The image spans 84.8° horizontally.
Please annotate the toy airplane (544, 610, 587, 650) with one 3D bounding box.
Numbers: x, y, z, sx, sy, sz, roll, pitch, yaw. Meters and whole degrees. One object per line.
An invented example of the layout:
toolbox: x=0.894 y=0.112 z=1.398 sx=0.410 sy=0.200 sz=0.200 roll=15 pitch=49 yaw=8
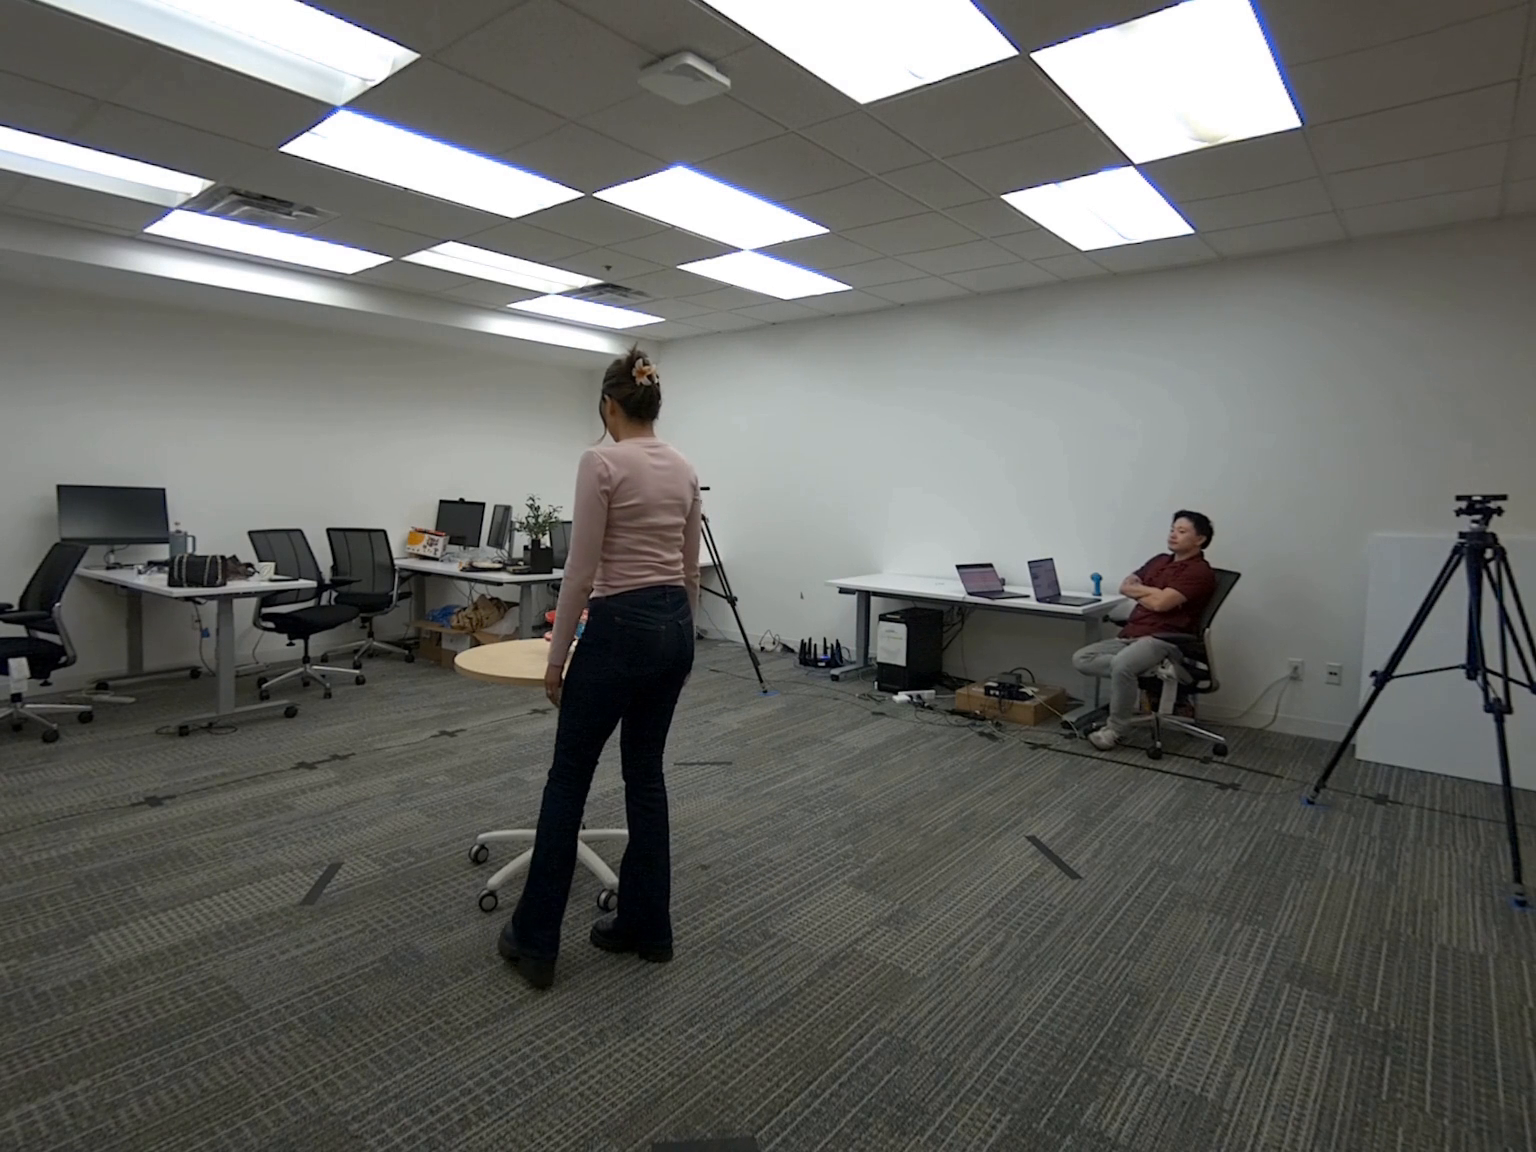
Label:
toy airplane: x=-0.657 y=0.203 z=3.069 sx=0.268 sy=0.156 sz=0.244 roll=4 pitch=5 yaw=39
